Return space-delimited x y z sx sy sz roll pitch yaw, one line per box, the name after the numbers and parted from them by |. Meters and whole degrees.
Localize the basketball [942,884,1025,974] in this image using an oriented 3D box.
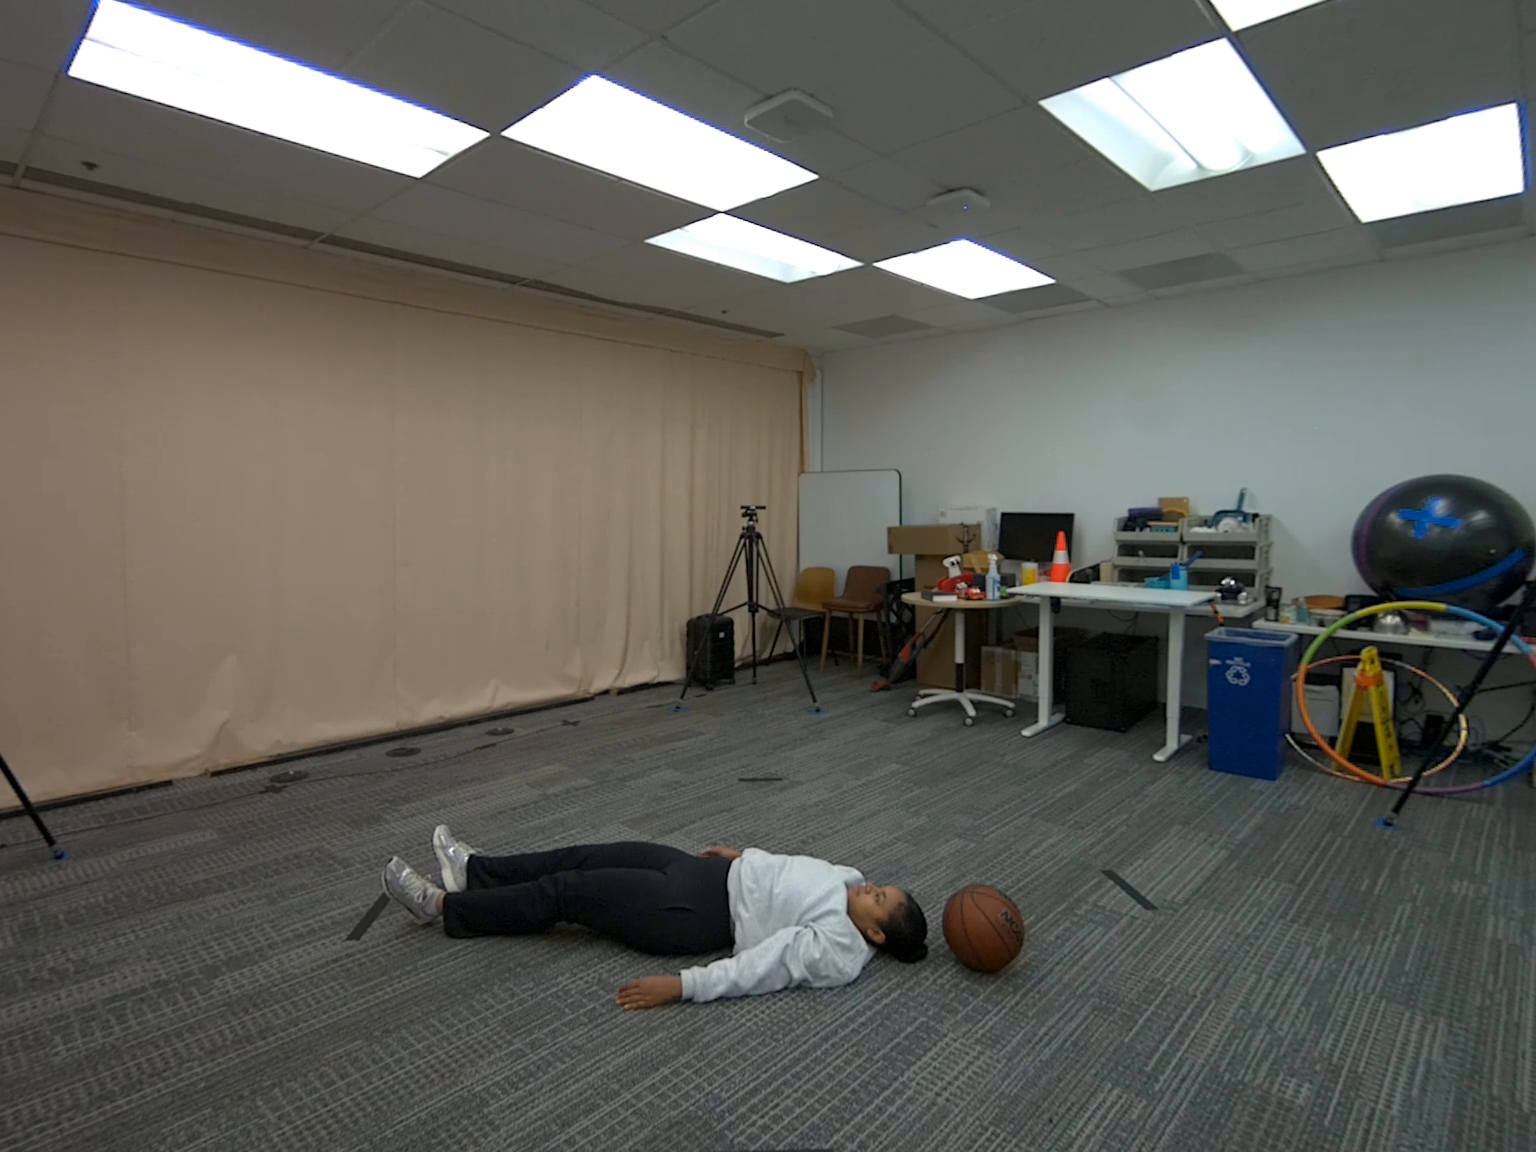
0.657 1.058 2.543 0.236 0.236 0.236 2 0 -2 | basketball
